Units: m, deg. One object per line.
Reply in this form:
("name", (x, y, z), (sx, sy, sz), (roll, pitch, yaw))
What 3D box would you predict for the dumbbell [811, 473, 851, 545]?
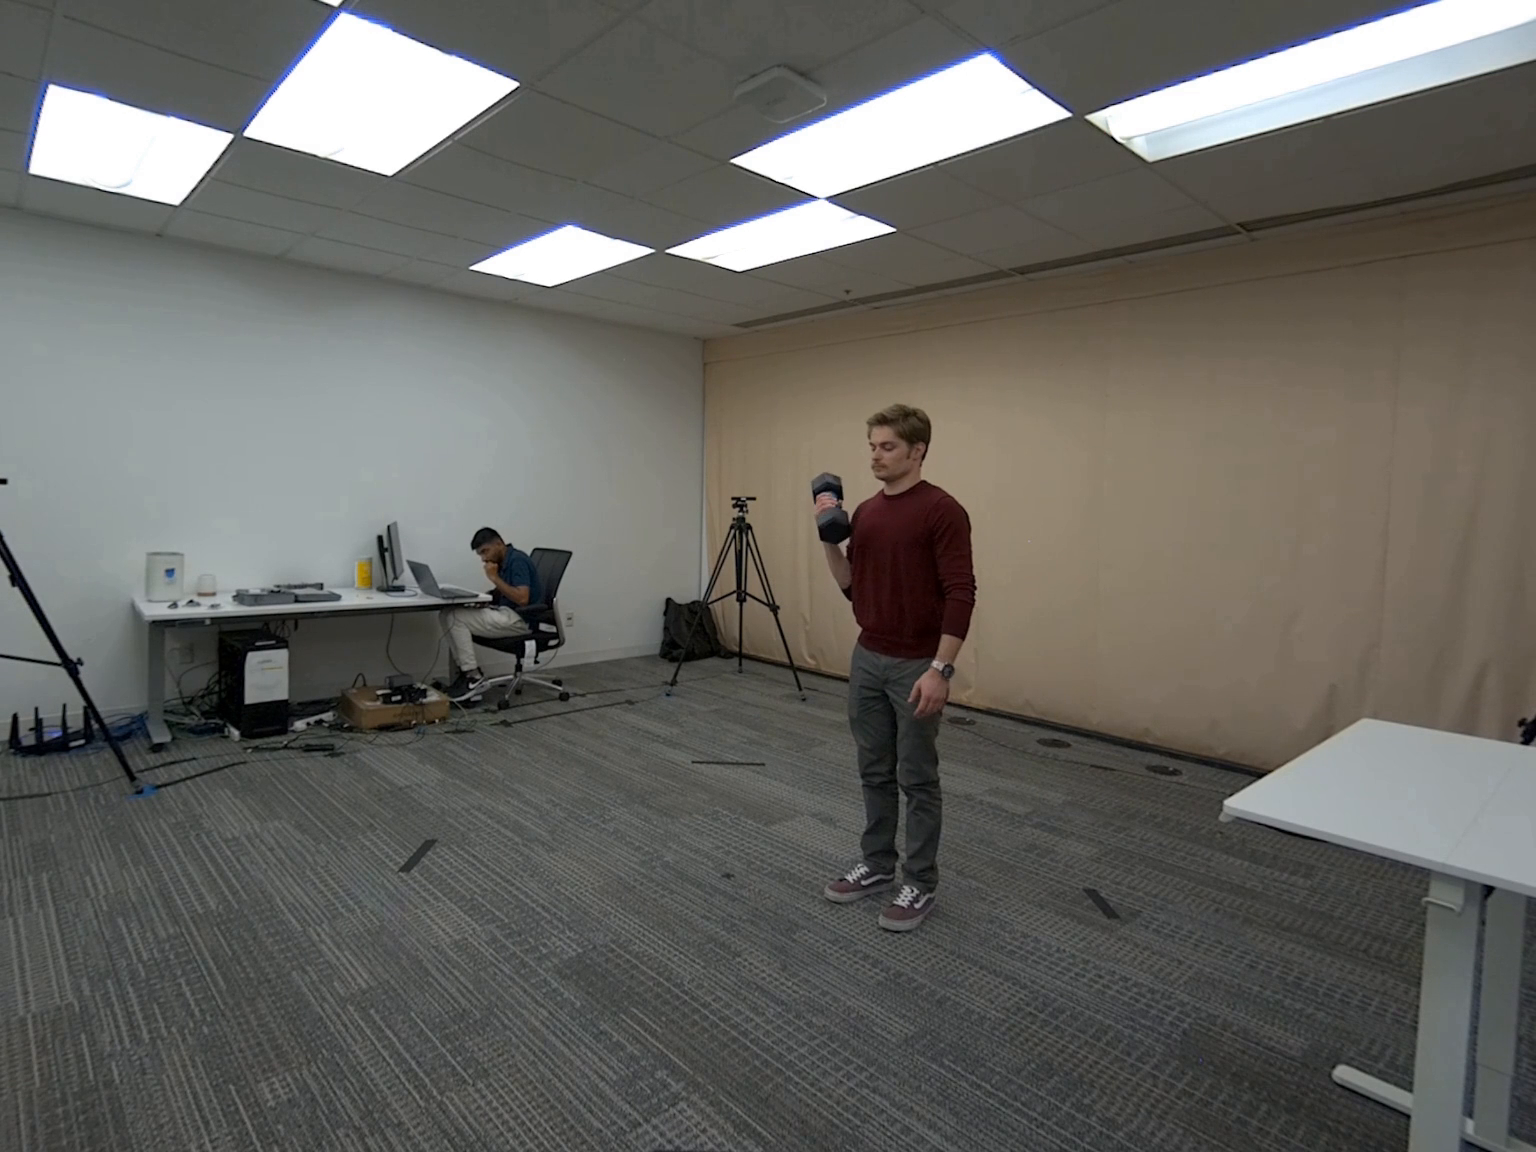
("dumbbell", (0.213, -0.230, 2.936), (0.109, 0.120, 0.300), (-8, 41, 4))
